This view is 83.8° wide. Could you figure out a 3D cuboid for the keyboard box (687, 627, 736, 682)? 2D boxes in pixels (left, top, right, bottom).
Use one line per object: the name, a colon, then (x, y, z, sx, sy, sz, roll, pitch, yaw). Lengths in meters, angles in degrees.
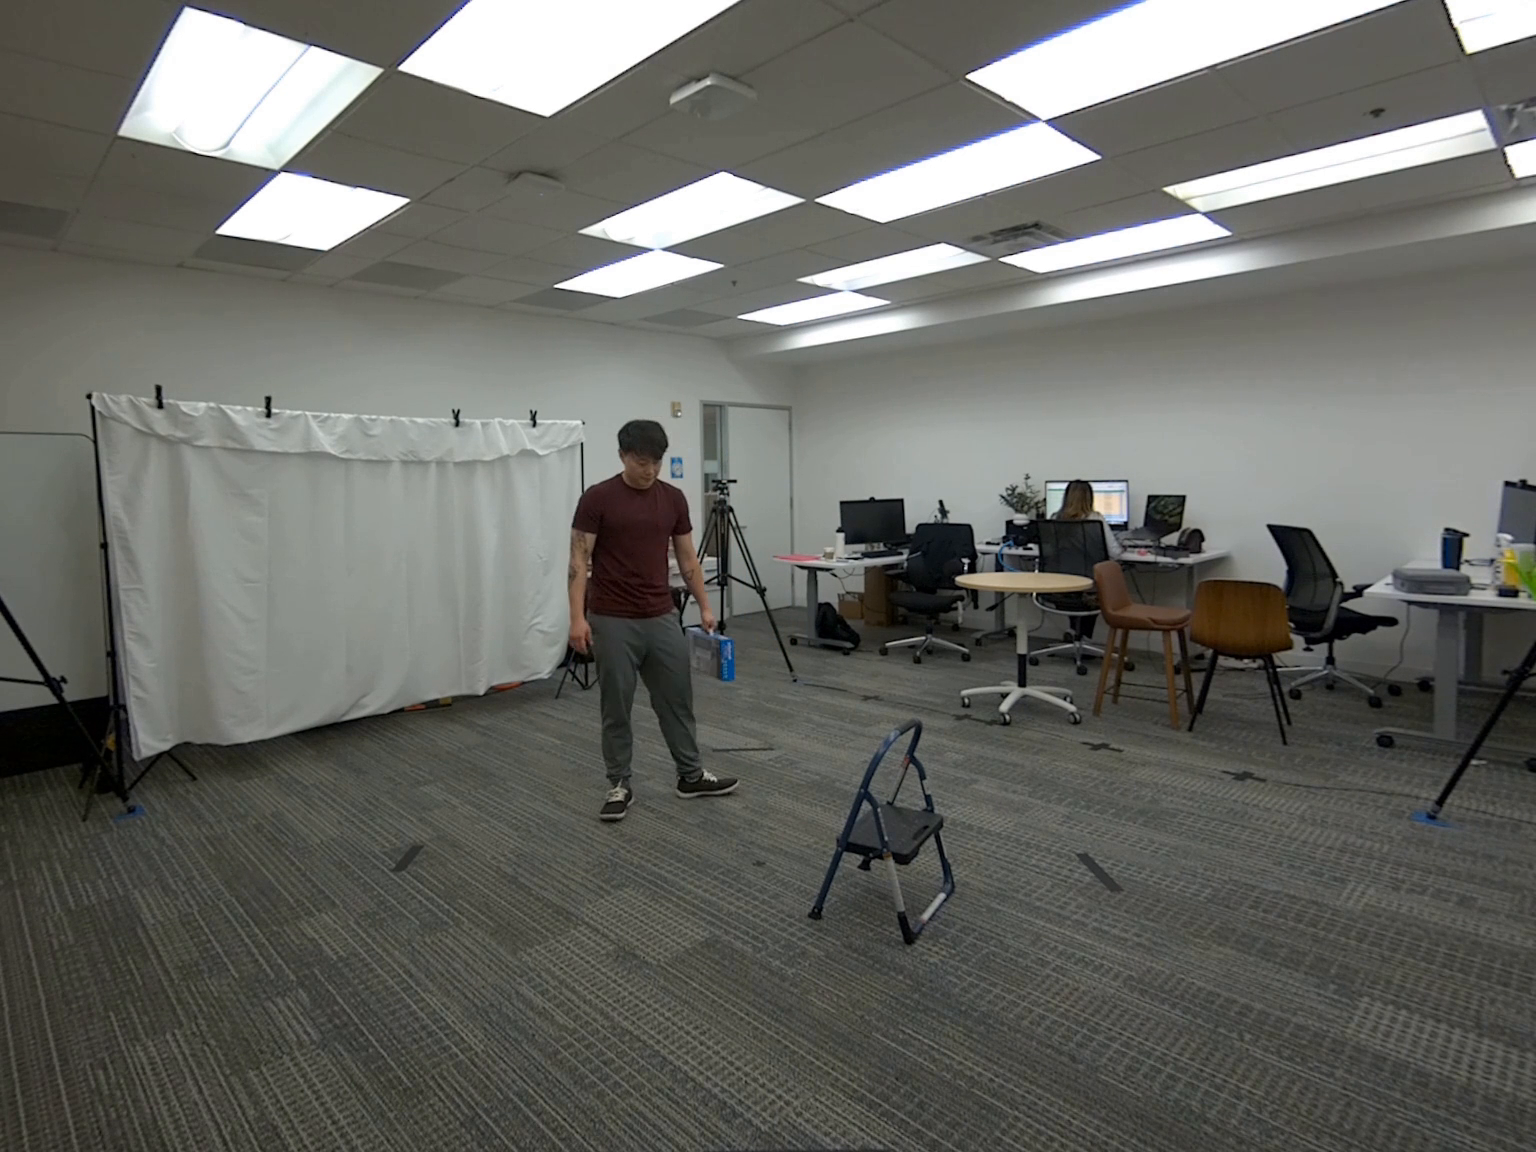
keyboard box: (-0.259, 0.334, 3.731, 0.058, 0.175, 0.446, -3, 4, -23)
